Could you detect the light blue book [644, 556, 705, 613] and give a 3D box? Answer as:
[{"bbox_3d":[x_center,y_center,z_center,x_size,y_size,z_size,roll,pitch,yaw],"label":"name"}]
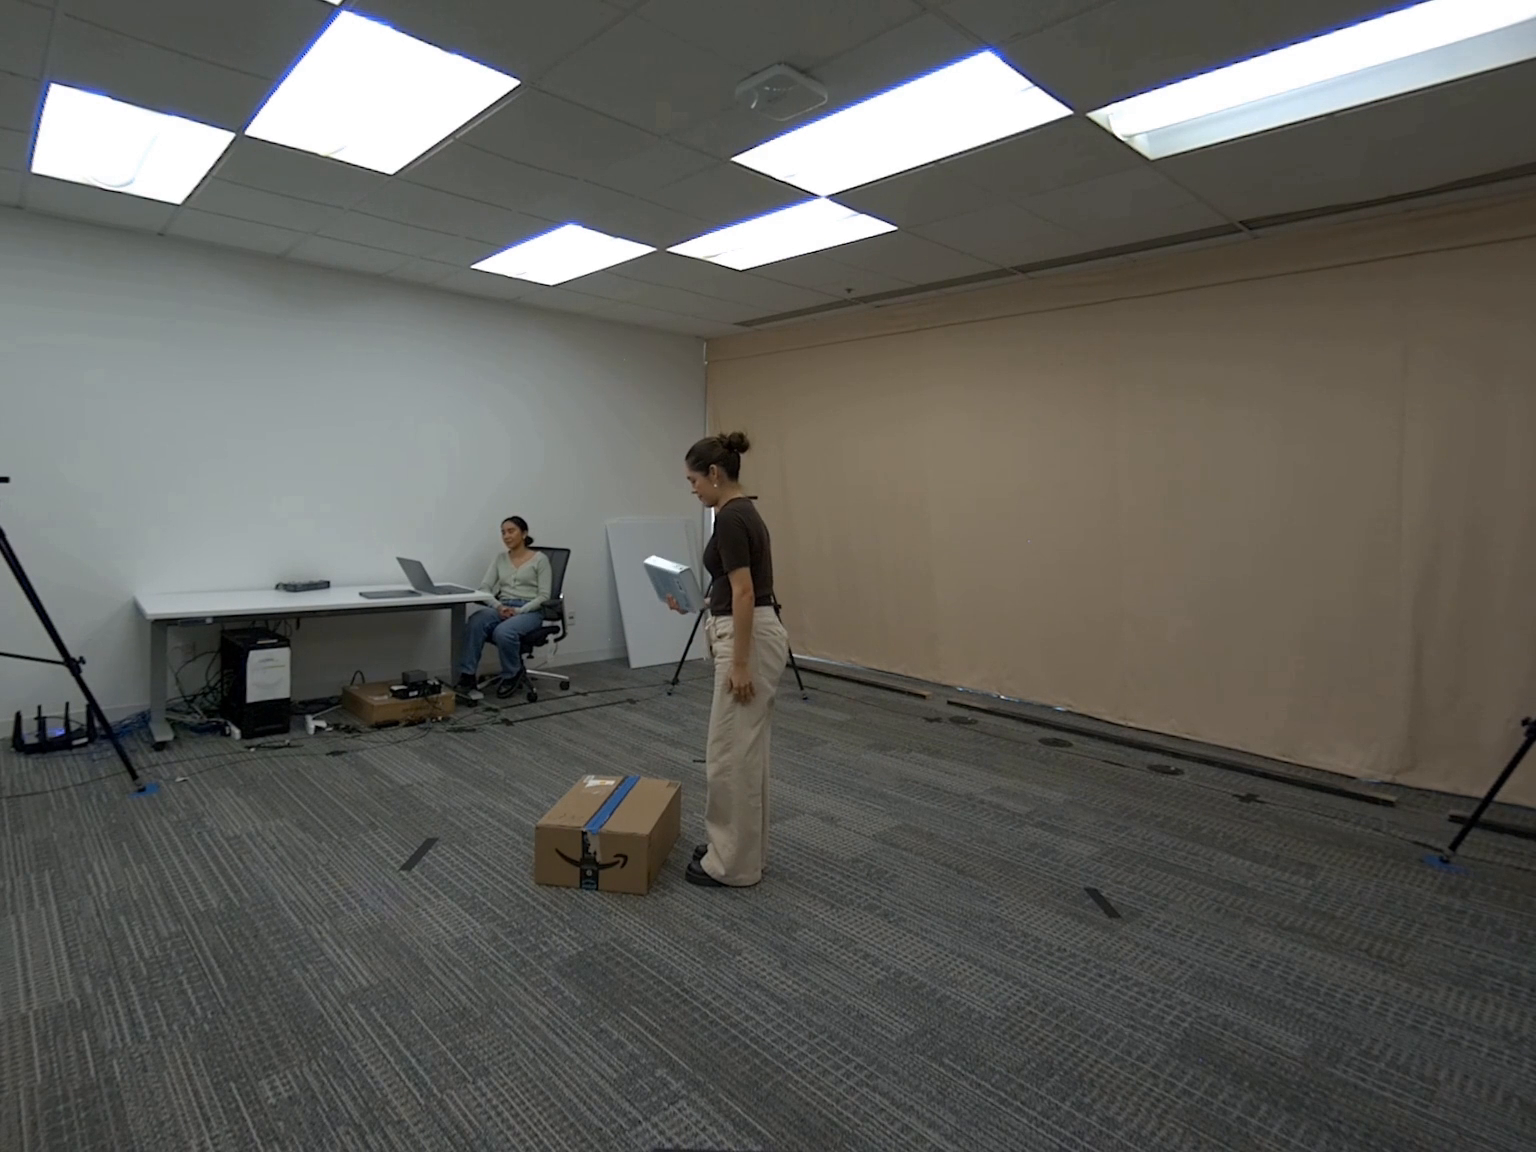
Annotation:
[{"bbox_3d":[-0.366,0.032,3.247,0.059,0.187,0.268,-35,29,-27],"label":"light blue book"}]
